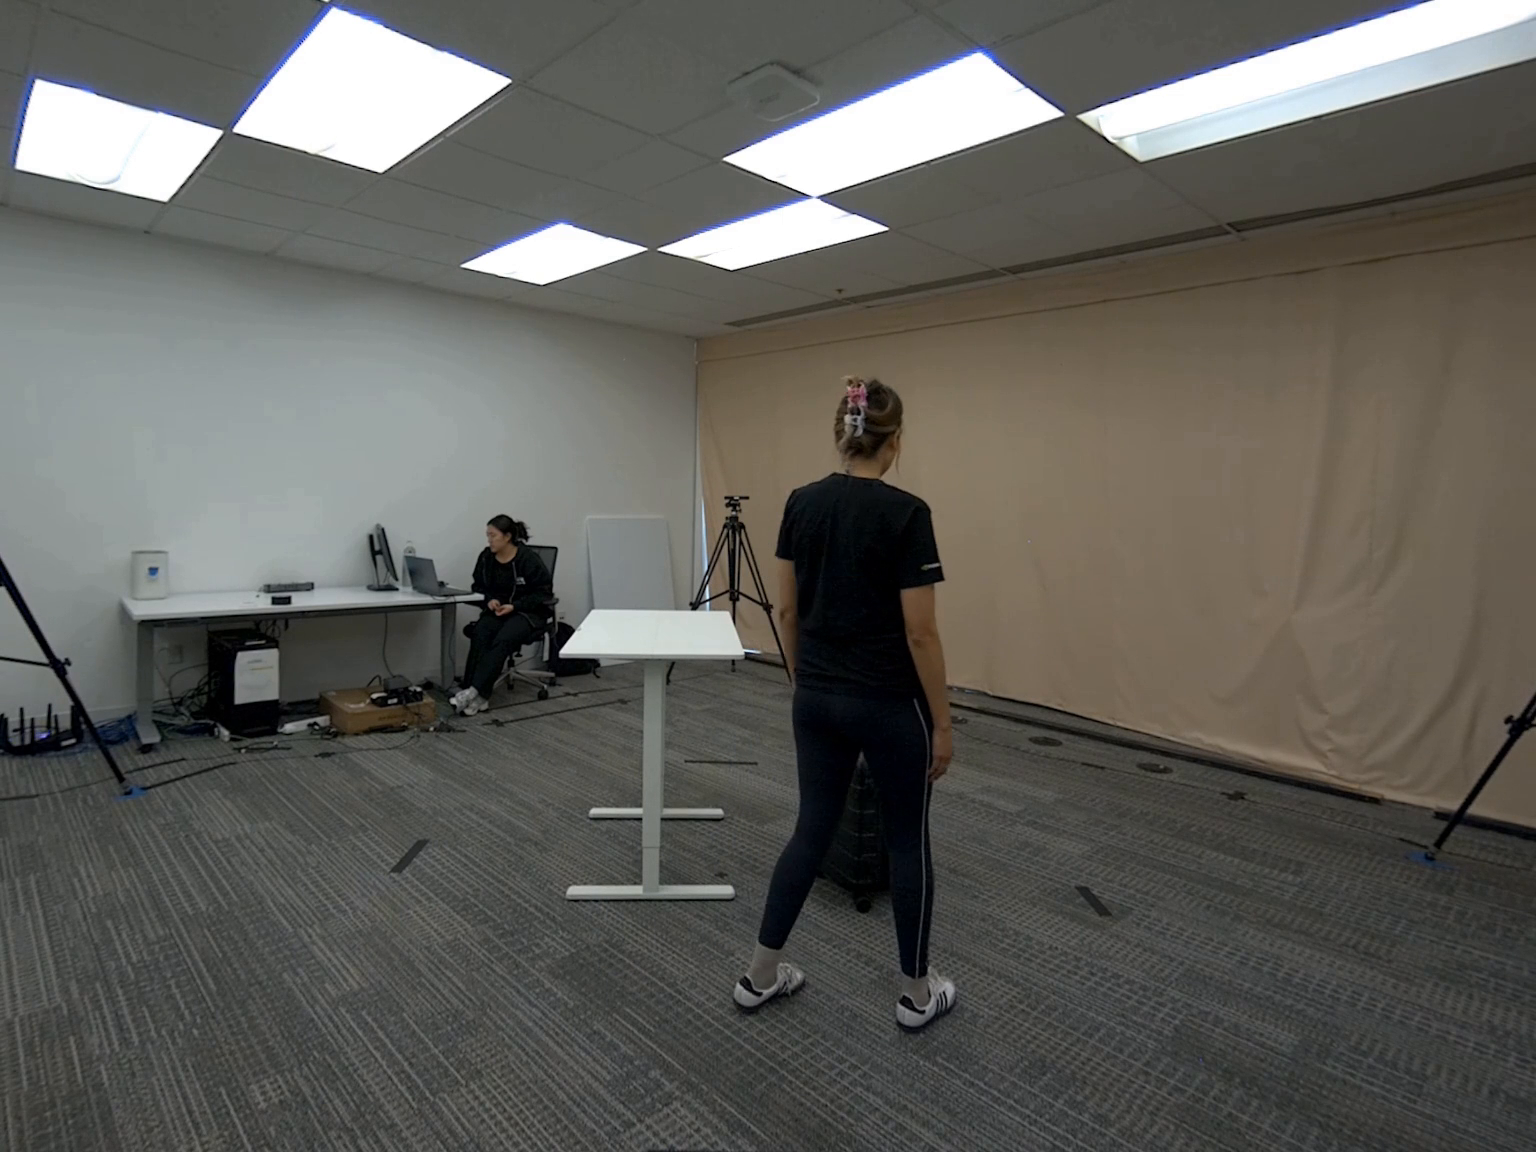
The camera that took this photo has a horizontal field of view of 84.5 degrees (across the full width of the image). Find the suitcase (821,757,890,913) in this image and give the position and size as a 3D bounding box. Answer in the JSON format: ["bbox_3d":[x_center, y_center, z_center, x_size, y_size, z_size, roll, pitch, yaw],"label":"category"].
[{"bbox_3d":[0.334,0.644,3.015,0.253,0.977,0.391,1,2,-22],"label":"suitcase"}]
